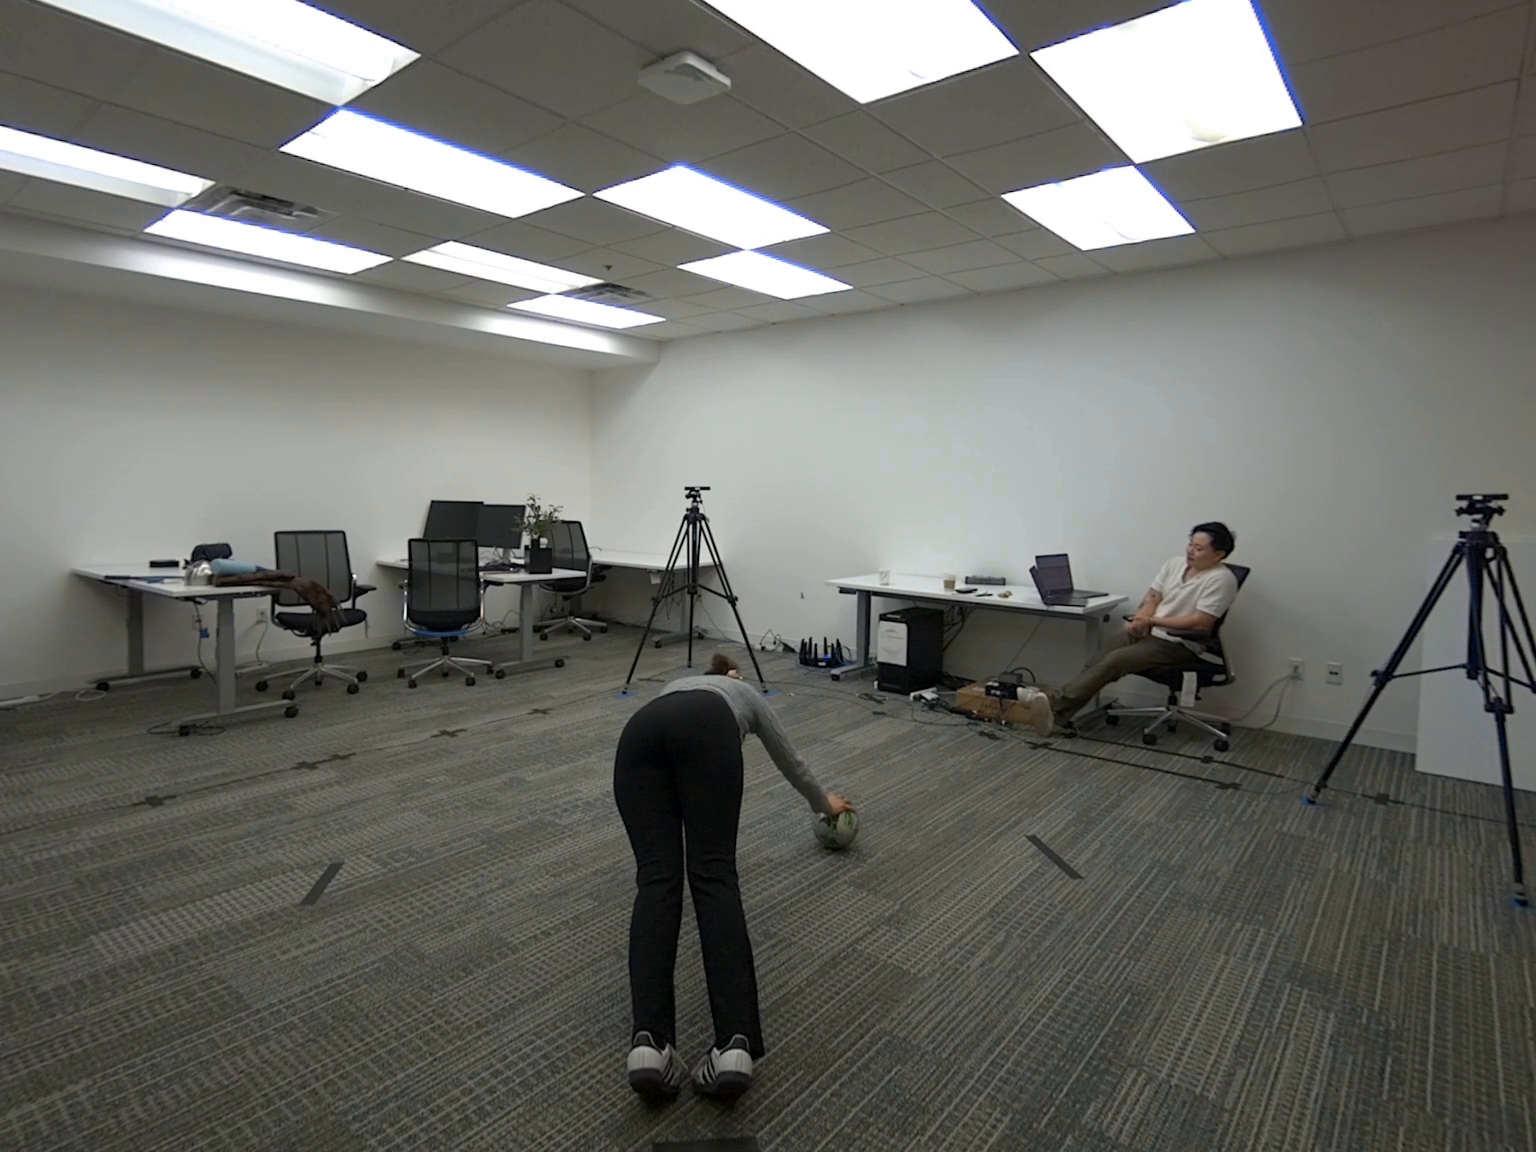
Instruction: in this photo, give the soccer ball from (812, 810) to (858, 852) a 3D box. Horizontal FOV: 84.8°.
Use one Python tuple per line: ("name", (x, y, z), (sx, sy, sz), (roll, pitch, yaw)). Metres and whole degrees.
("soccer ball", (0.260, 0.962, 3.326), (0.187, 0.187, 0.188), (1, 4, -2))
